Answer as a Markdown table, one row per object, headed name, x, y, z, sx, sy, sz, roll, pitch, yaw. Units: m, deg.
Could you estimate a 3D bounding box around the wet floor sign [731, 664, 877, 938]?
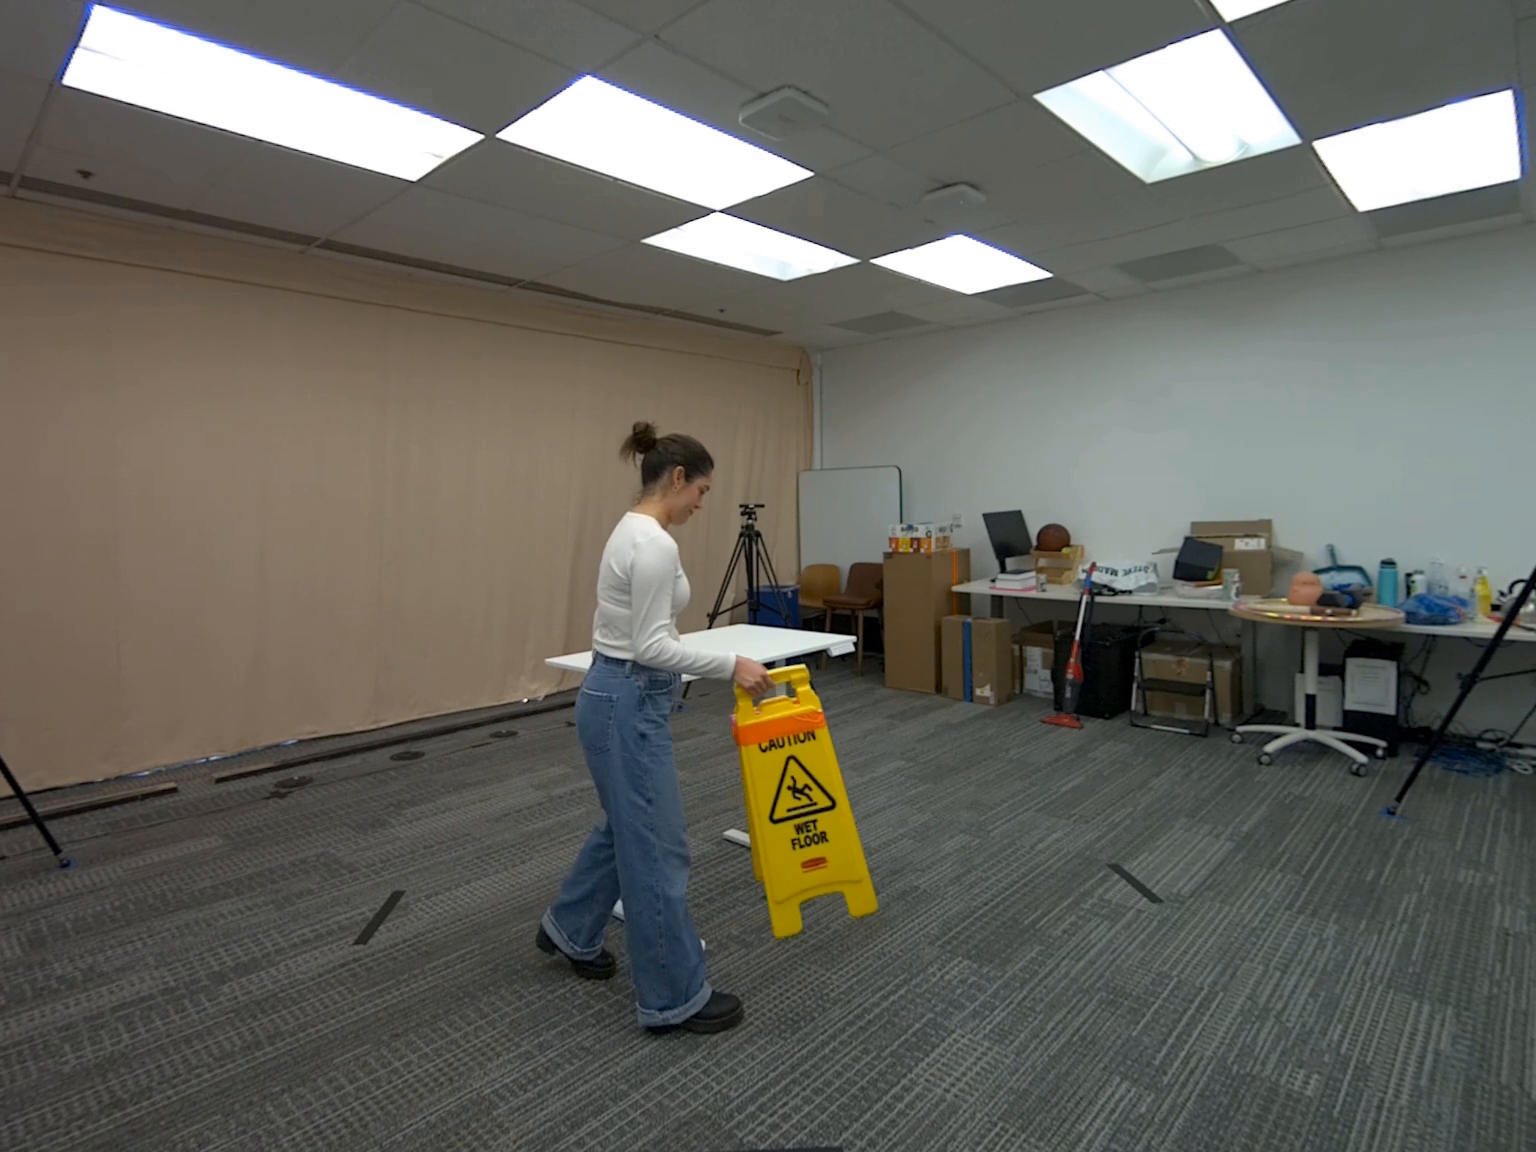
| name | x | y | z | sx | sy | sz | roll | pitch | yaw |
| --- | --- | --- | --- | --- | --- | --- | --- | --- | --- |
| wet floor sign | 0.062 | 0.559 | 2.219 | 0.281 | 0.641 | 0.293 | -12 | 9 | -6 |
